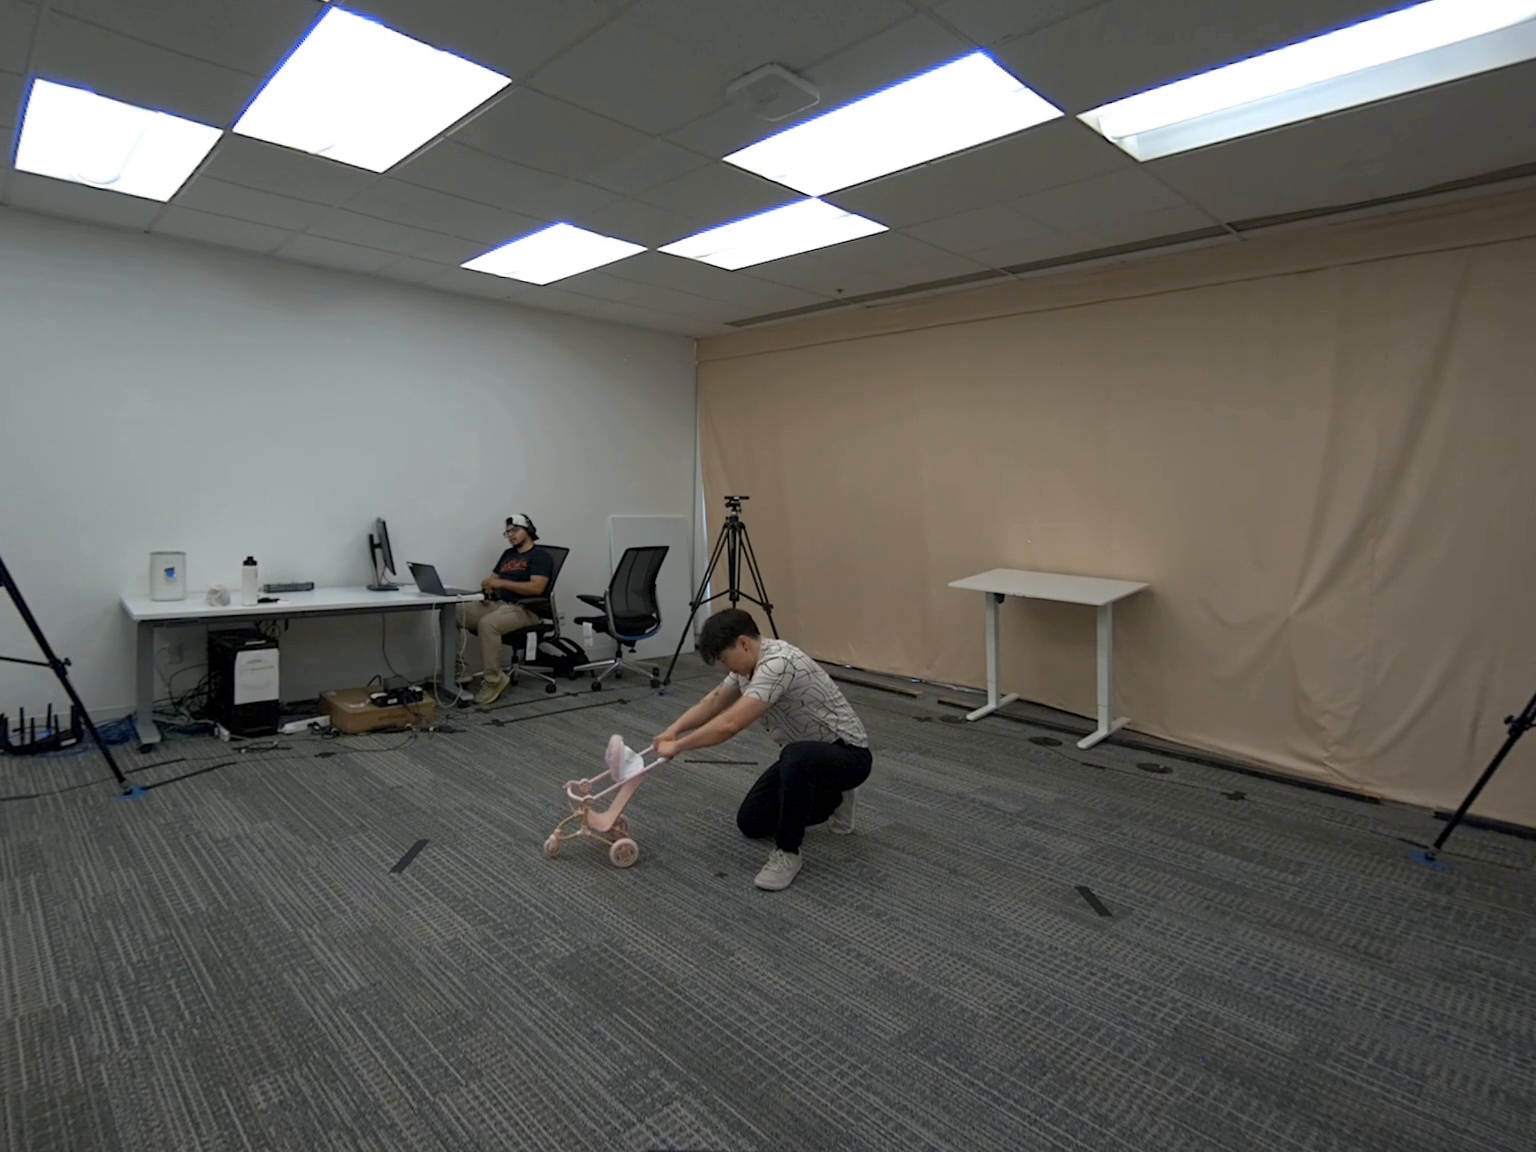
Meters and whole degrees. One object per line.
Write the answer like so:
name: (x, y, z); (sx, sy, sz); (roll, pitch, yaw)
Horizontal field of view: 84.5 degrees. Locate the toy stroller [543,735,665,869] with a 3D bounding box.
toy stroller: (-0.621, 0.849, 3.250); (0.338, 0.535, 0.284); (19, 0, -11)
